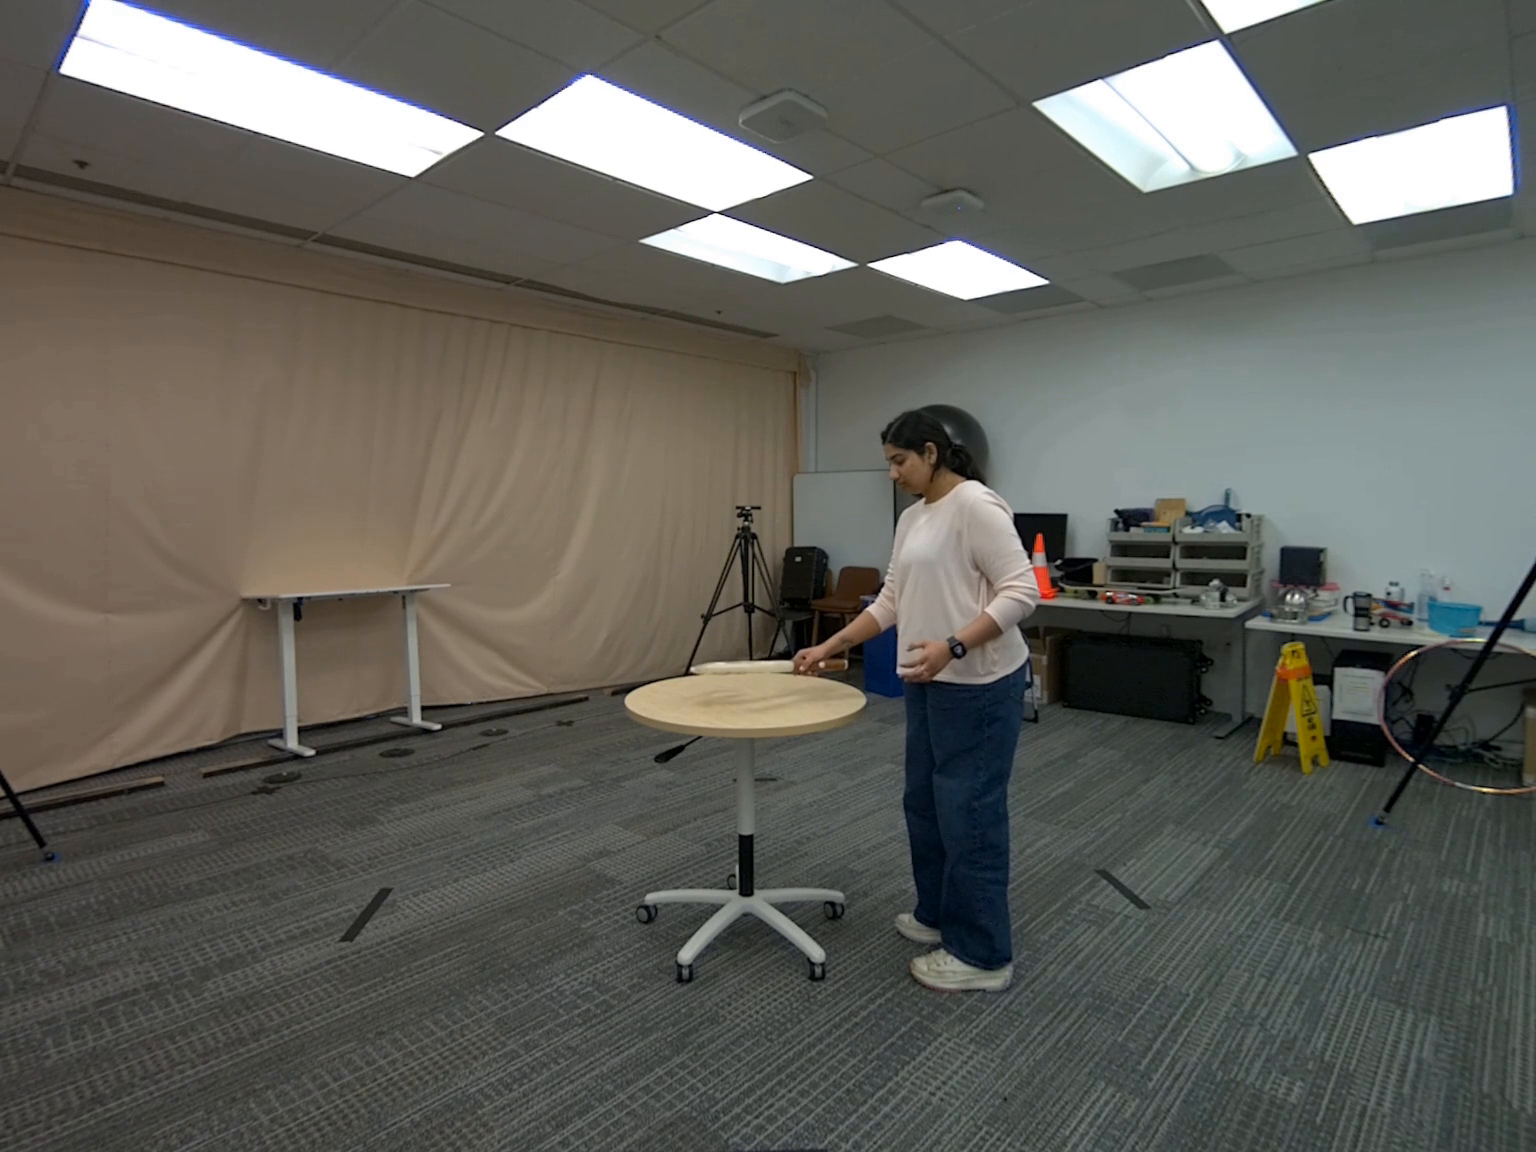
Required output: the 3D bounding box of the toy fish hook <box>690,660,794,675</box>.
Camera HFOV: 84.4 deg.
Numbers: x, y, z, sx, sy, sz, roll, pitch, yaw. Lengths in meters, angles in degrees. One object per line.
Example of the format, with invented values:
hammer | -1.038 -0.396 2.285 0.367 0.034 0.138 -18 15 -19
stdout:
toy fish hook | 0.019 0.297 2.679 0.497 0.048 0.228 2 -5 -17
